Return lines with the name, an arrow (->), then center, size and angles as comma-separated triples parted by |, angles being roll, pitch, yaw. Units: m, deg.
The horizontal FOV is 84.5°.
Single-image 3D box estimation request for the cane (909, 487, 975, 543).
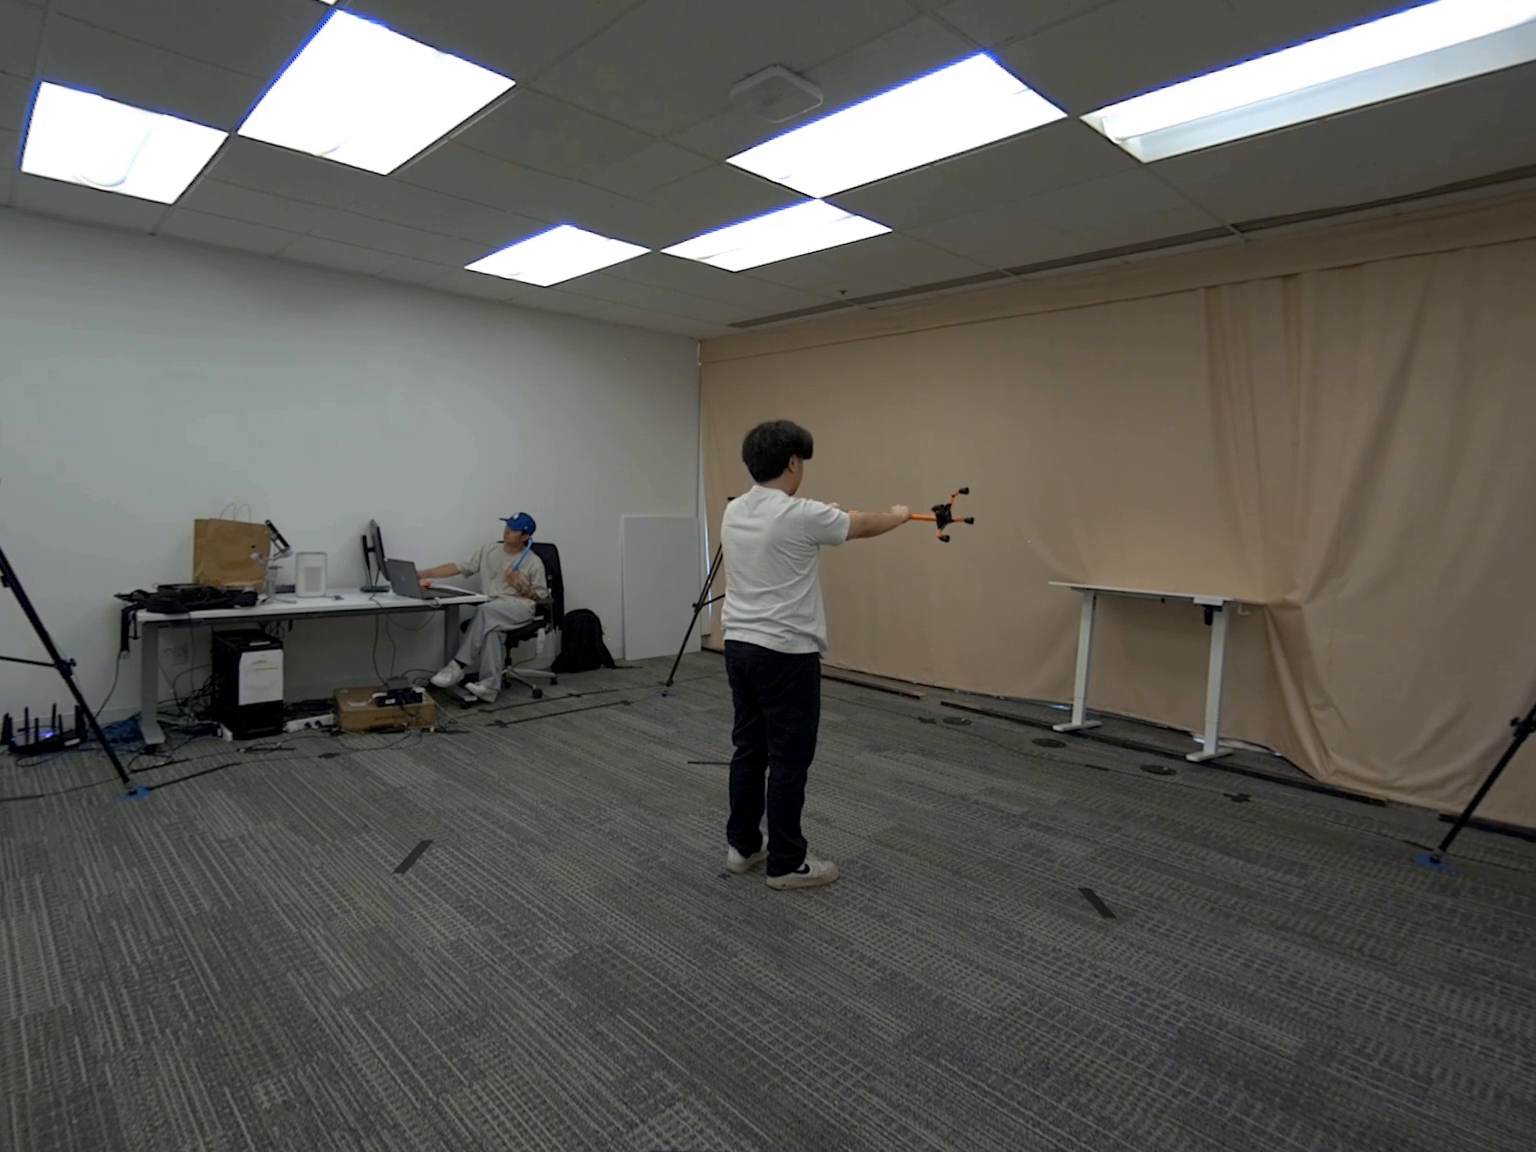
cane -> 0.382, -0.272, 3.489 | 0.931, 0.149, 0.204 | 7, 28, 45
